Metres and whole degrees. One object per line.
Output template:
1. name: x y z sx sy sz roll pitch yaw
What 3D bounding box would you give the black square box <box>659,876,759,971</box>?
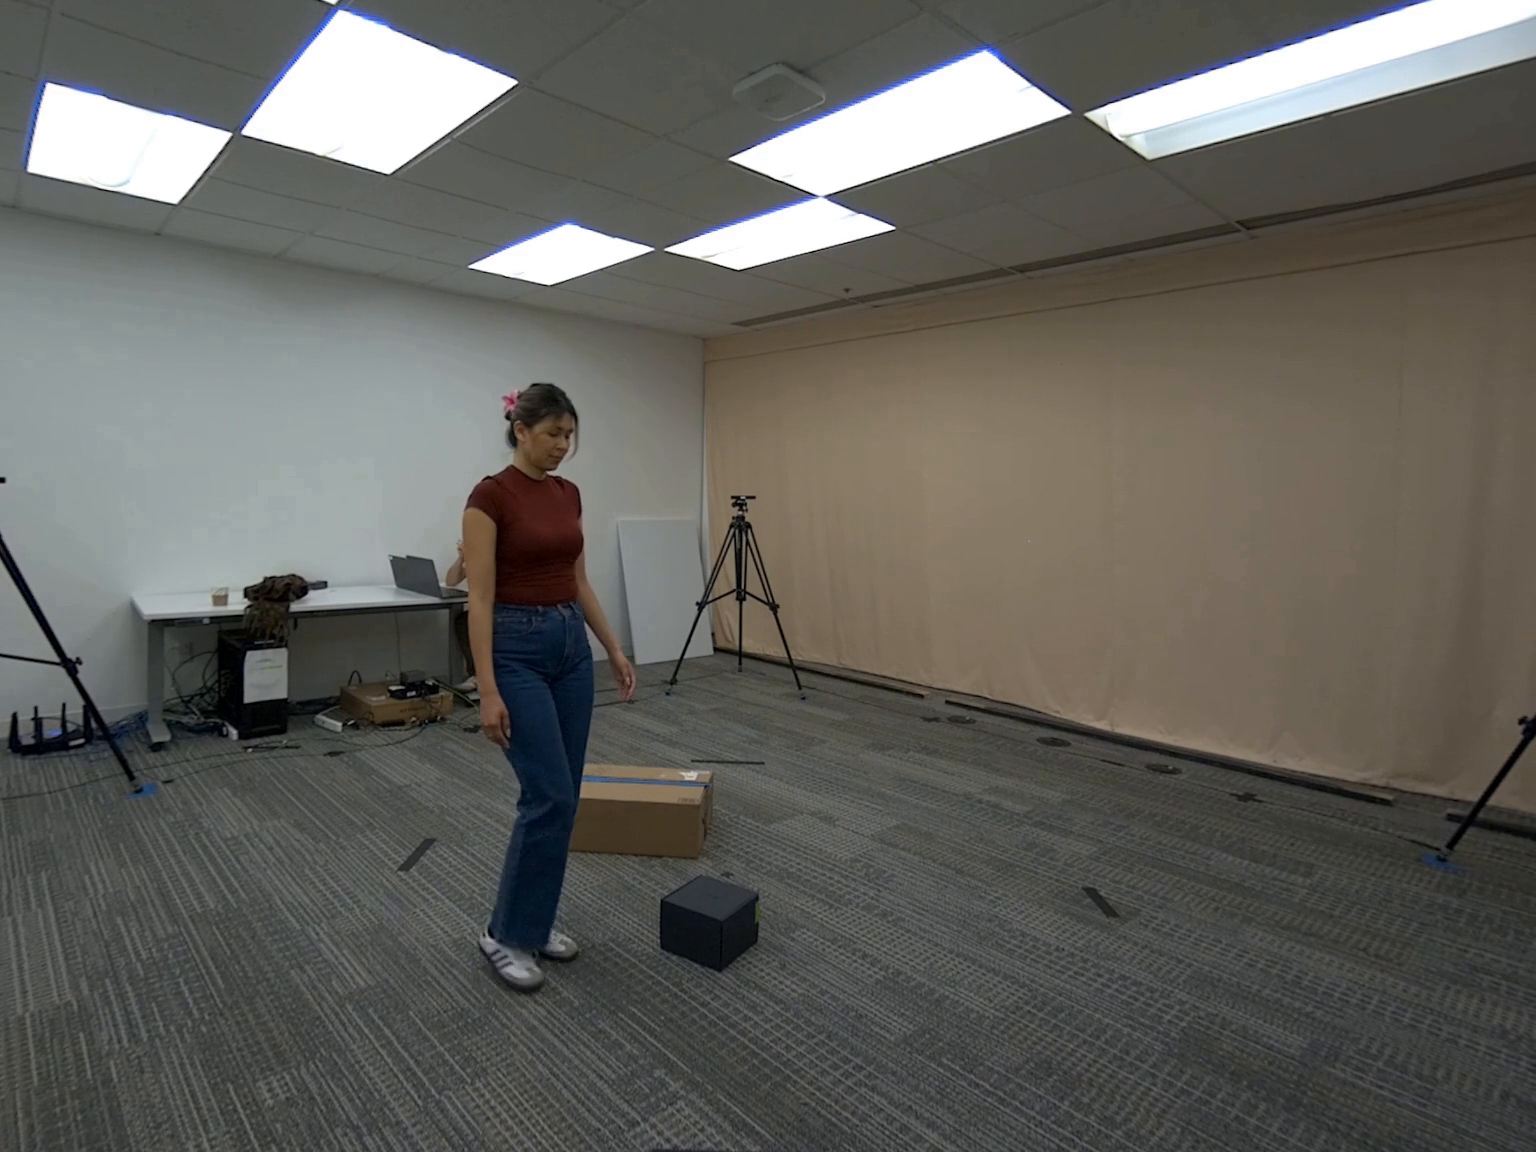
1. black square box: -0.183 1.061 2.604 0.233 0.155 0.213 3 5 31
